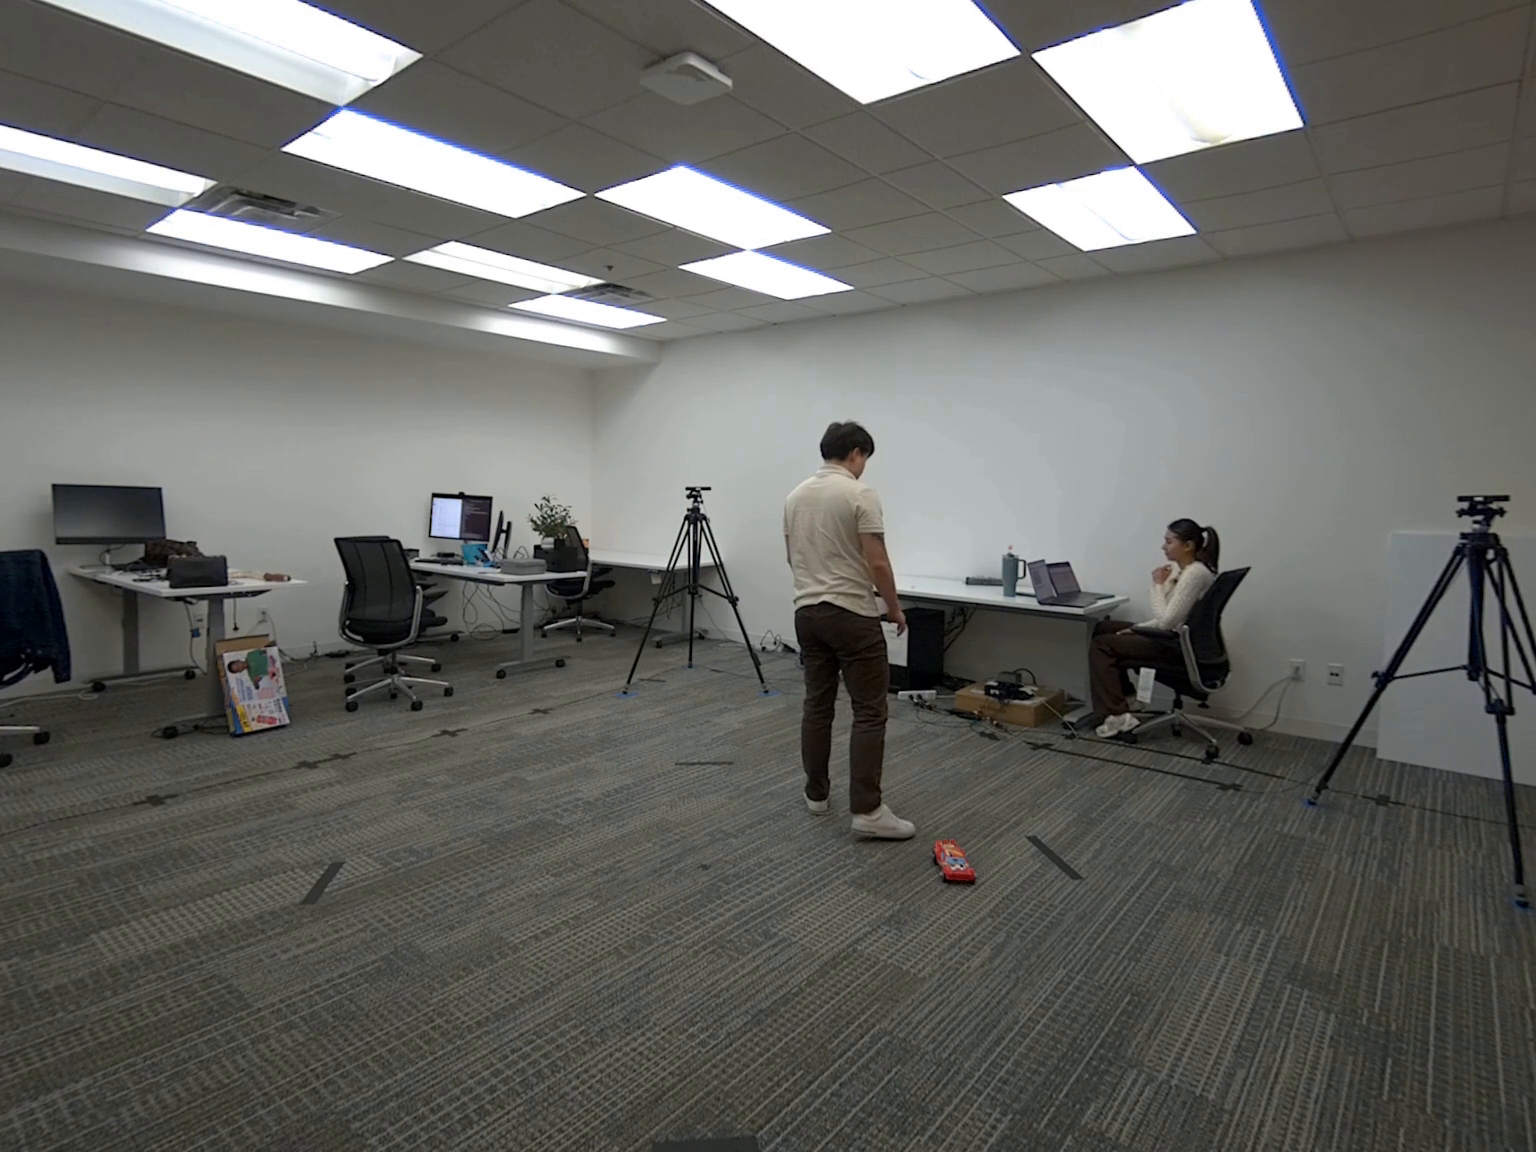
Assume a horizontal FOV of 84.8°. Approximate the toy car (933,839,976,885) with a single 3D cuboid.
[{"bbox_3d":[0.678,1.049,3.143,0.130,0.082,0.258,-1,17,0],"label":"toy car"}]
